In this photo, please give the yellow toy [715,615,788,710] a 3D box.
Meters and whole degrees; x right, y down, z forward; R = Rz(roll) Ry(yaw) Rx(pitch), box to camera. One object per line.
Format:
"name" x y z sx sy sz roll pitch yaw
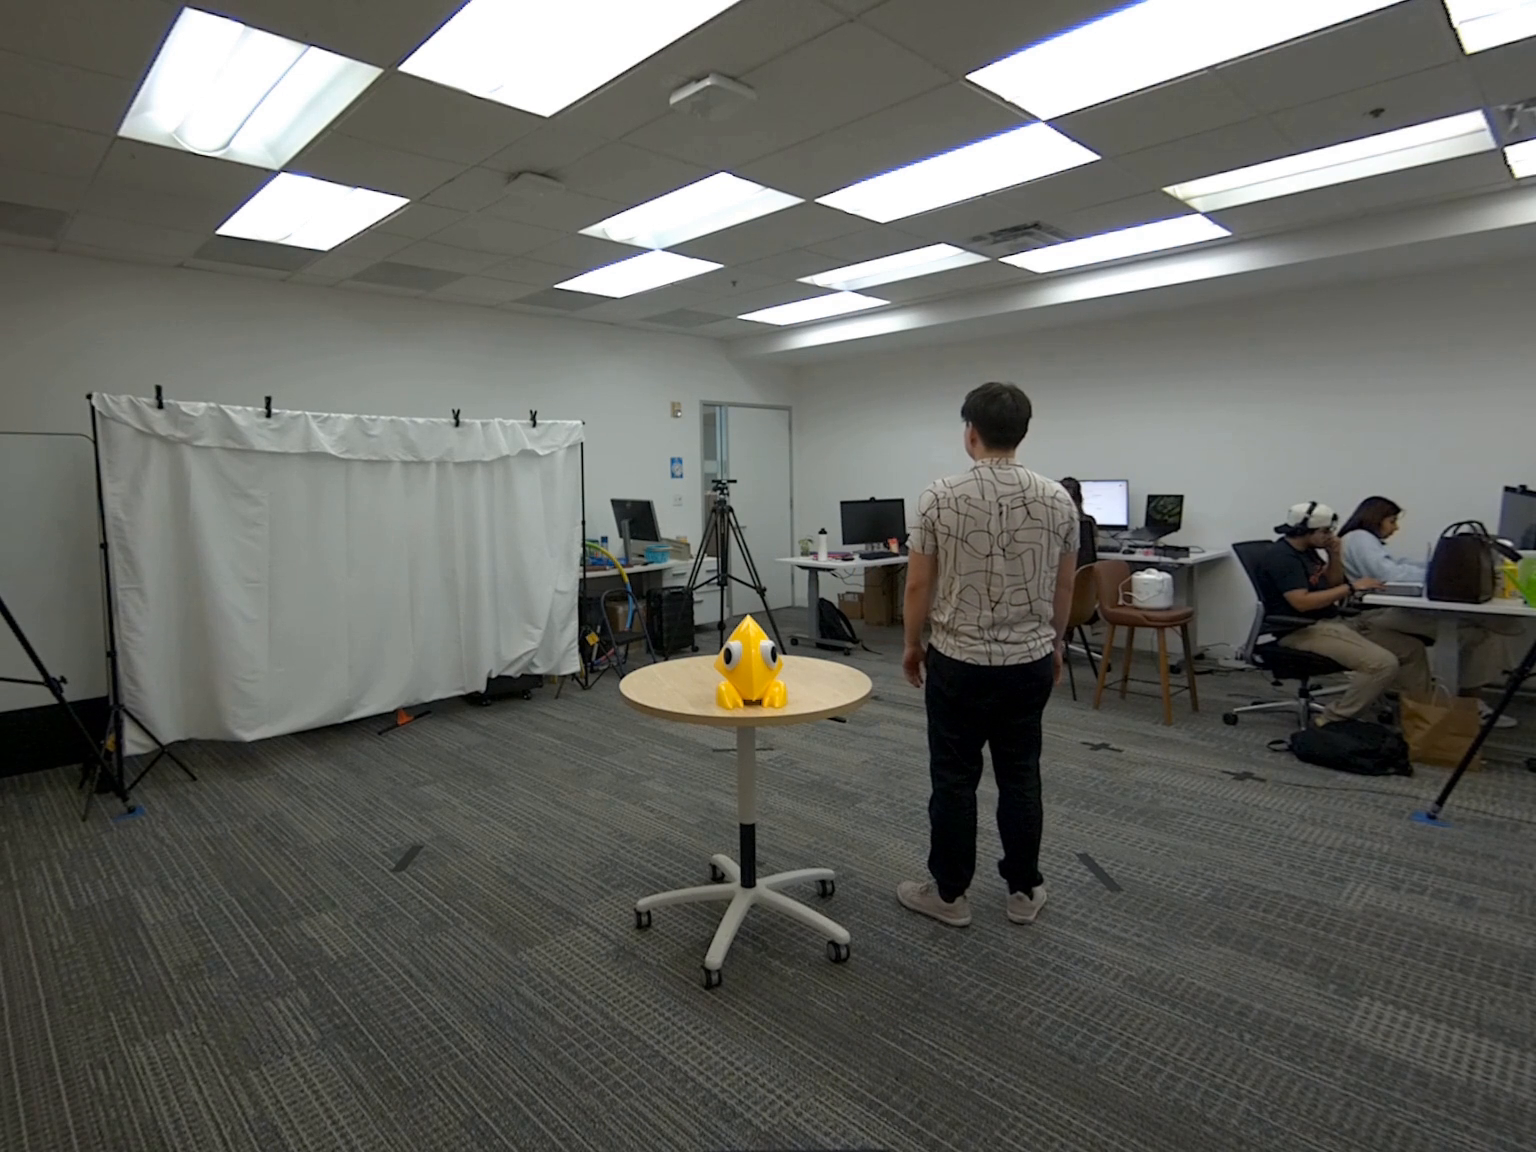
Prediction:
"yellow toy" -0.043 0.232 2.380 0.204 0.230 0.194 0 5 -4
